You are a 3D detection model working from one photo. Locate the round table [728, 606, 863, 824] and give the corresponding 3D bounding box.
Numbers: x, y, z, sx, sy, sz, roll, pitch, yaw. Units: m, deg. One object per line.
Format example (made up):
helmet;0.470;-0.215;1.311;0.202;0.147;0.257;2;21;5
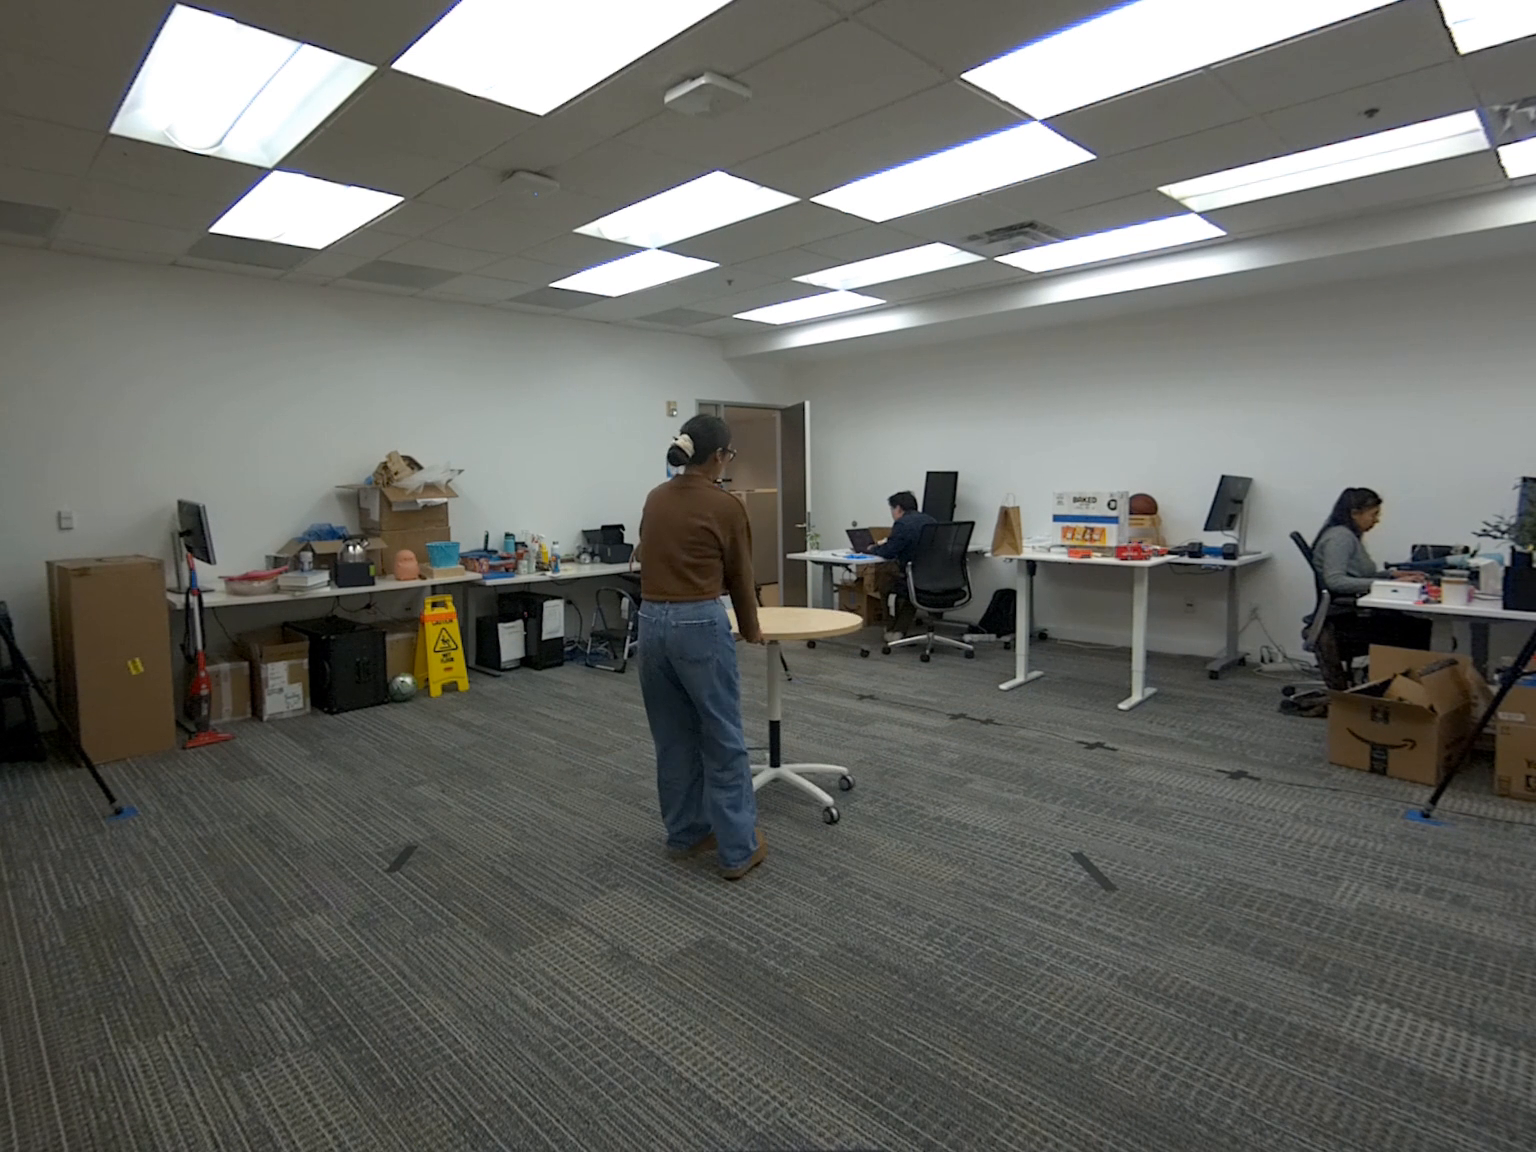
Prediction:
round table;0.035;0.582;3.688;0.784;0.784;0.788;-1;4;-2
